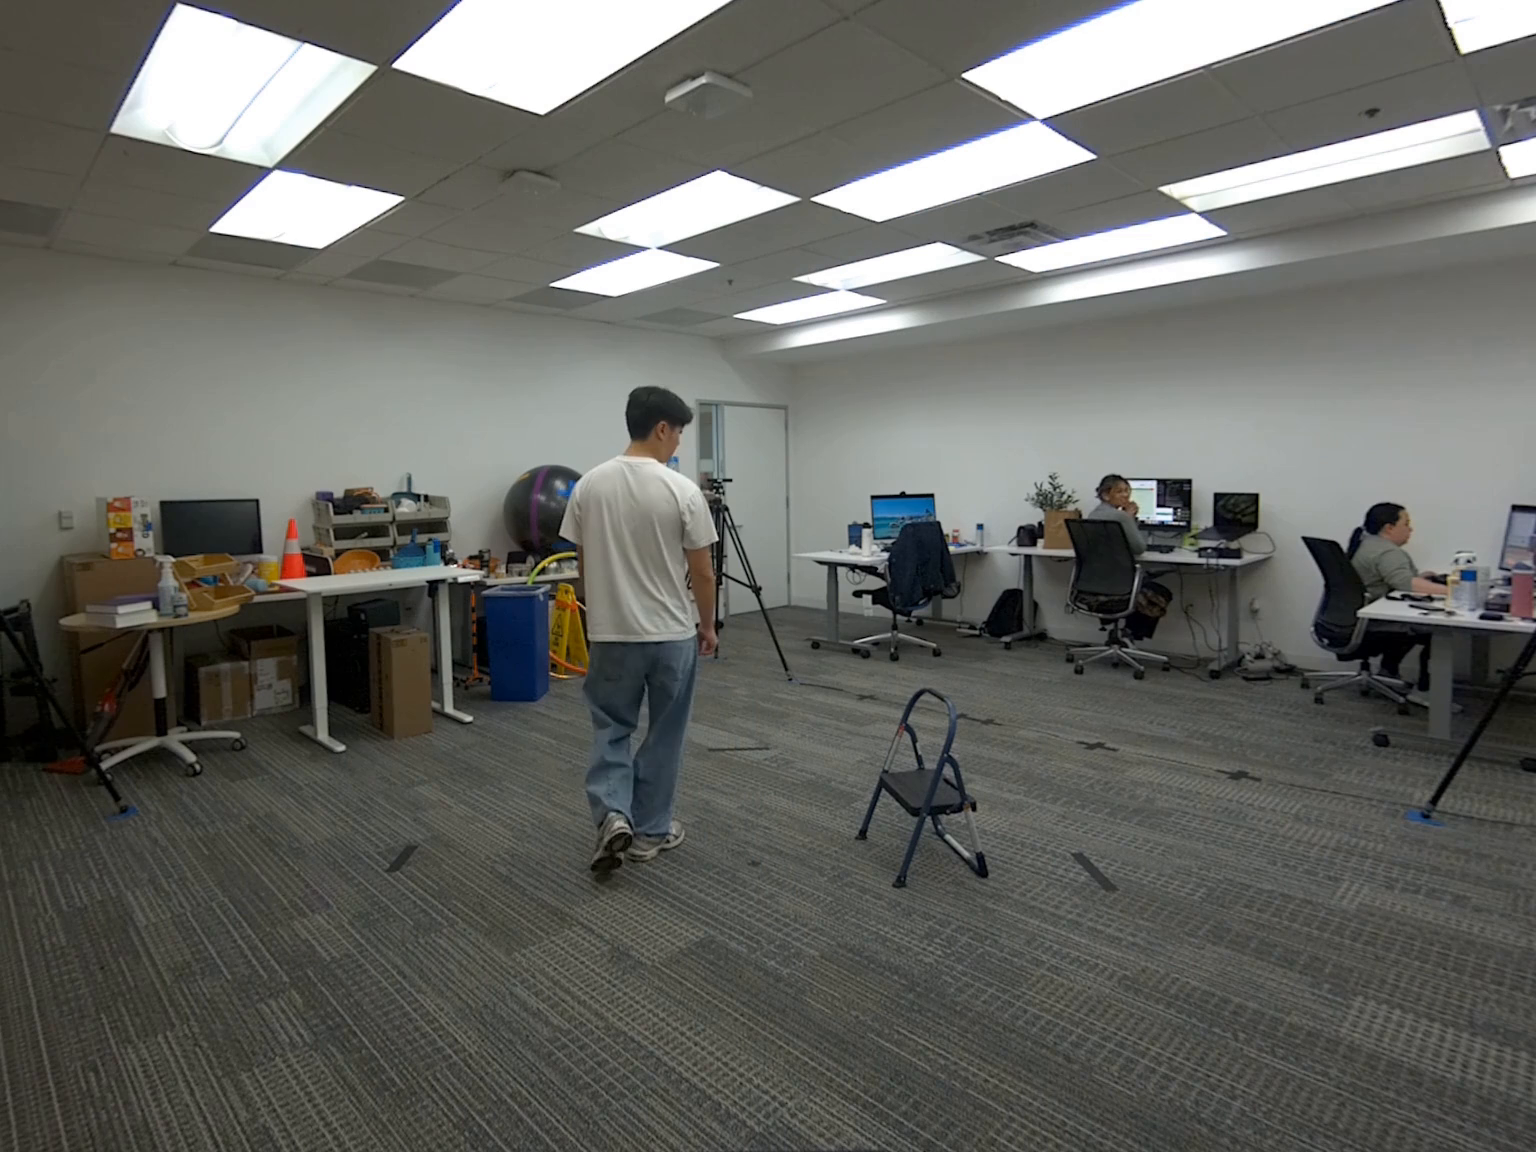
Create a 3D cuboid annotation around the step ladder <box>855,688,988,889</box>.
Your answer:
[{"bbox_3d":[0.551,0.731,3.112,0.345,0.603,0.437,-2,5,-12],"label":"step ladder"}]
